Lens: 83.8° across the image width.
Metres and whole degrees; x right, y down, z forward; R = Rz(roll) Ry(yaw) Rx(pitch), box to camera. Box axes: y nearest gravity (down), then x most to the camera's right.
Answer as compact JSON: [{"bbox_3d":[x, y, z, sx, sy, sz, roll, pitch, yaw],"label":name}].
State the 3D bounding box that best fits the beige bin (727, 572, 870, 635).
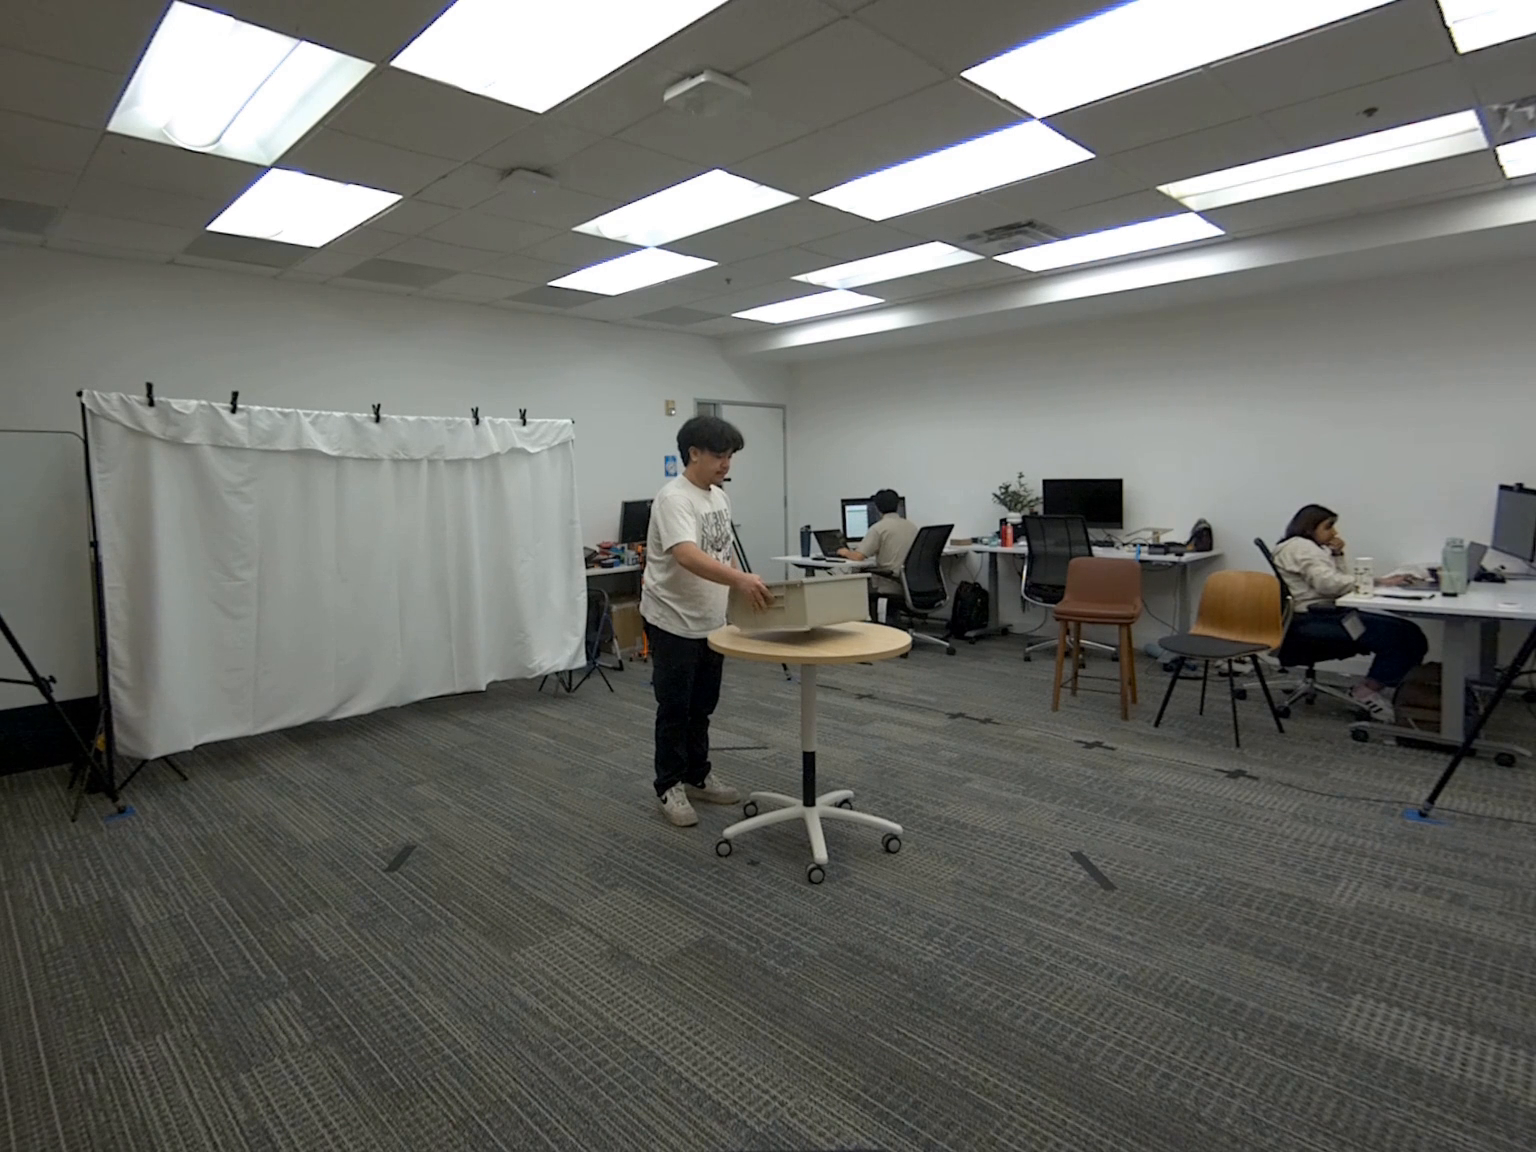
[{"bbox_3d":[0.122,0.104,3.243,0.387,0.189,0.410,-4,-1,42],"label":"beige bin"}]
